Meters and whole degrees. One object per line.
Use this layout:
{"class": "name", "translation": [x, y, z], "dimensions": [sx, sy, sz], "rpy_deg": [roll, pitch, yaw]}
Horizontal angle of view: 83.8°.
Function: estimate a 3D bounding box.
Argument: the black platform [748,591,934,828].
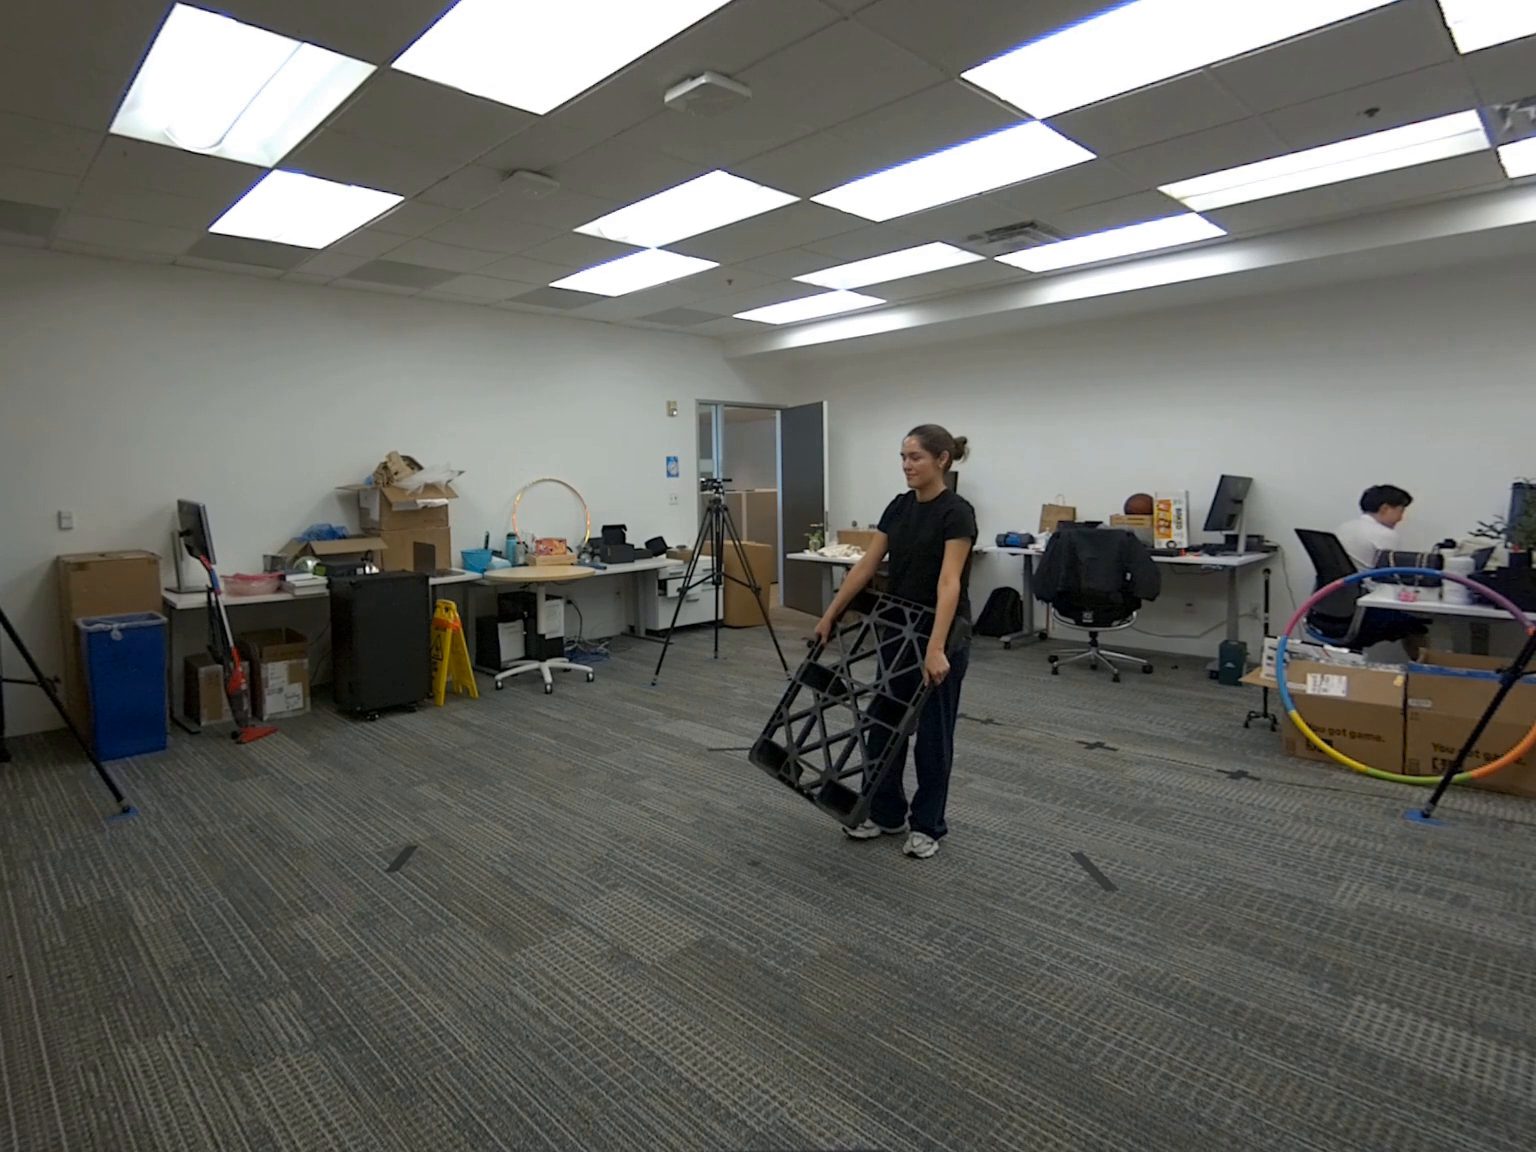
{"class": "black platform", "translation": [0.333, 0.451, 3.119], "dimensions": [0.138, 0.807, 0.626], "rpy_deg": [38, -12, -36]}
